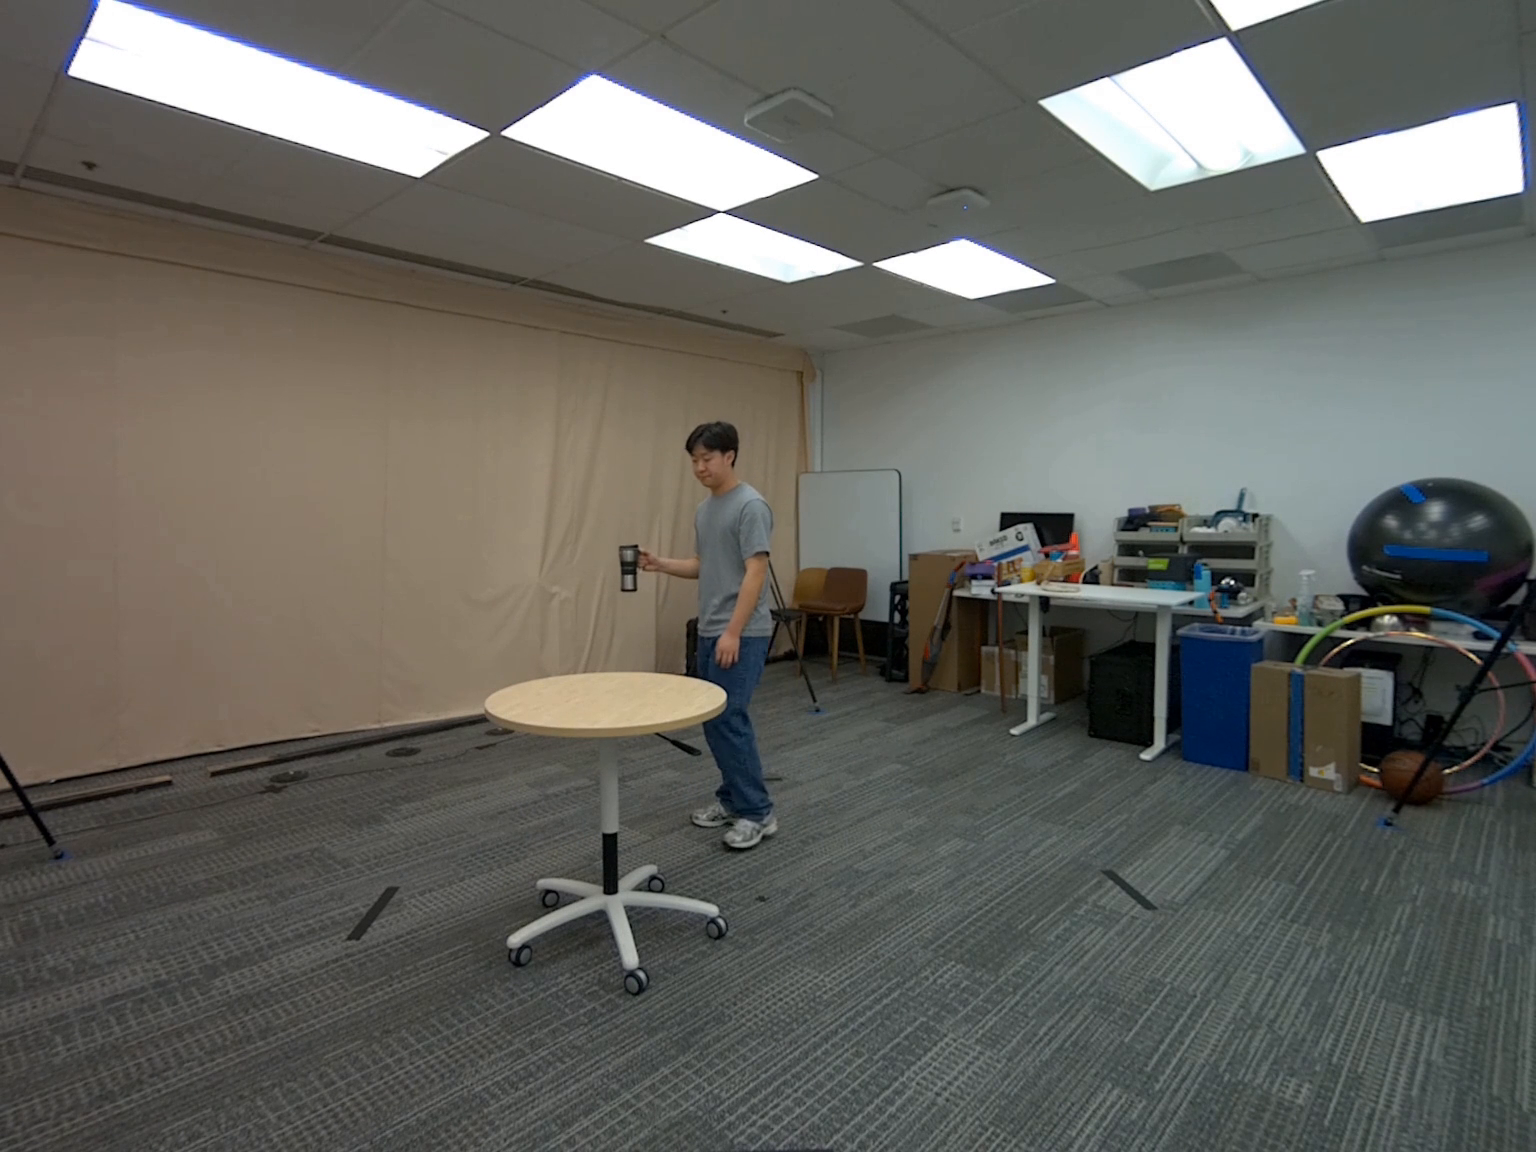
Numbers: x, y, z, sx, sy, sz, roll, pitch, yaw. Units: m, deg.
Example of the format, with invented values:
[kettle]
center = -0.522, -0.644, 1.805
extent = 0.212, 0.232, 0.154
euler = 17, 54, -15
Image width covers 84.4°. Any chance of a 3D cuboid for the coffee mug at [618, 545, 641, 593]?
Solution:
[coffee mug]
center = -0.582, -0.031, 3.674
extent = 0.119, 0.202, 0.090
euler = -4, 3, -23
